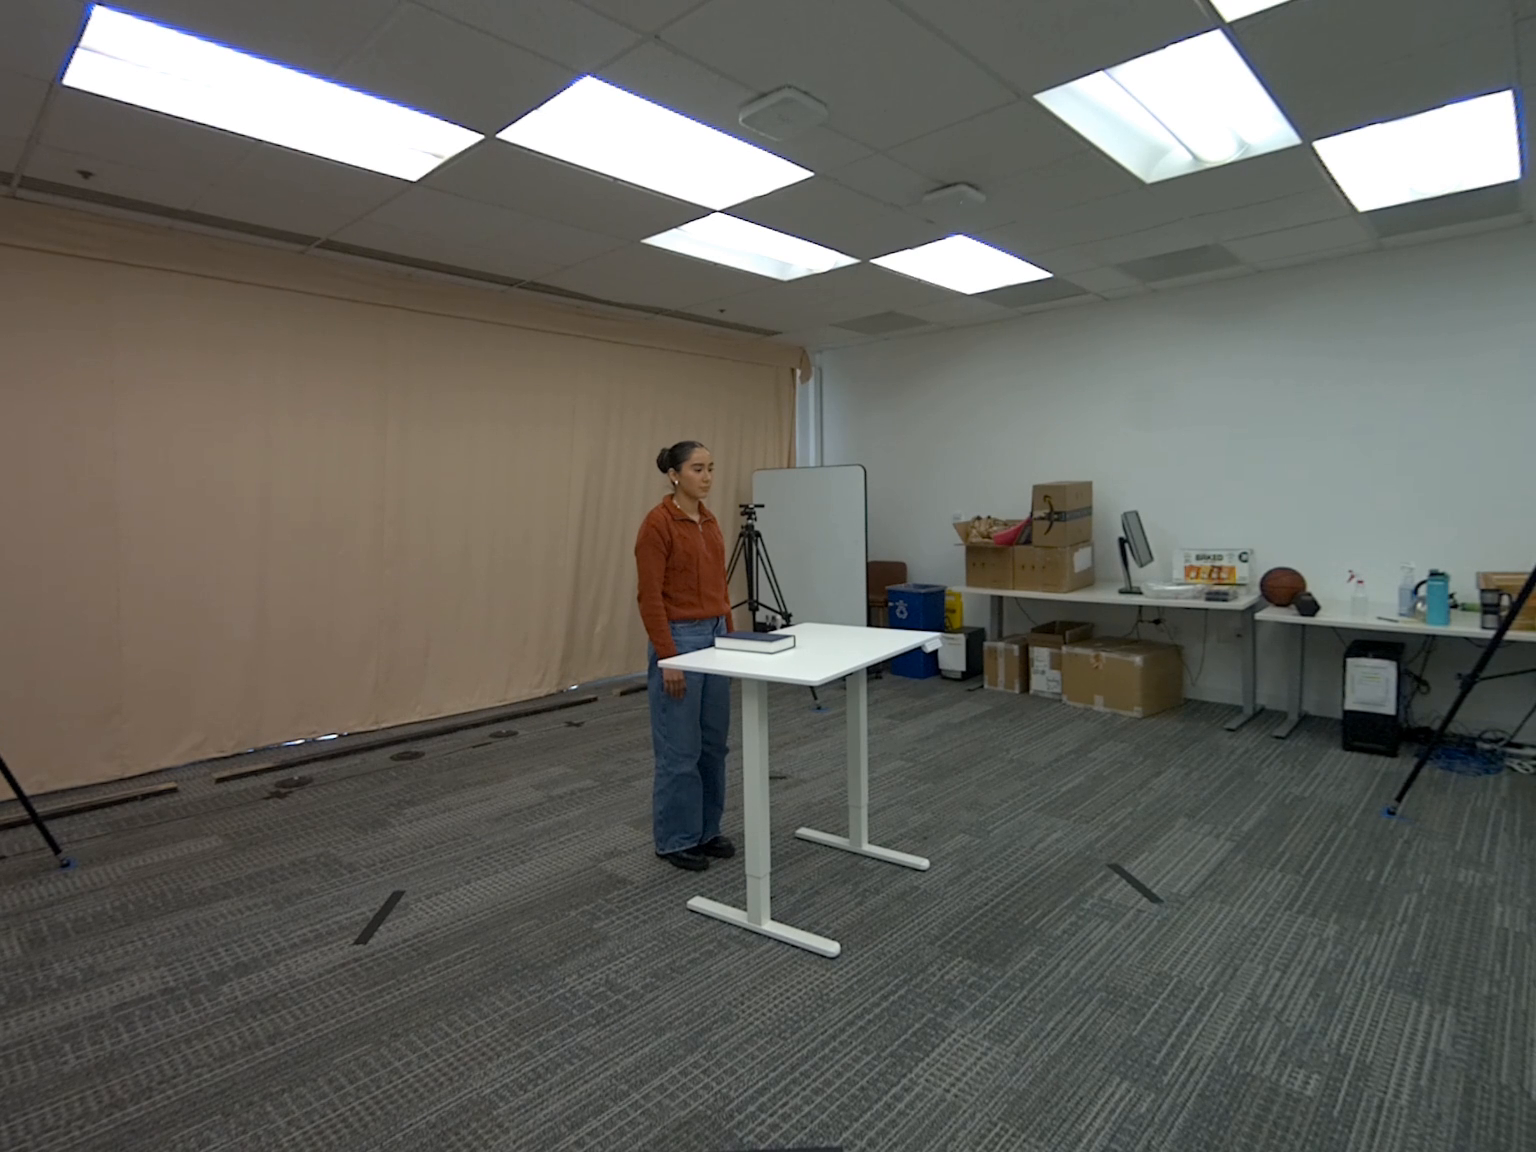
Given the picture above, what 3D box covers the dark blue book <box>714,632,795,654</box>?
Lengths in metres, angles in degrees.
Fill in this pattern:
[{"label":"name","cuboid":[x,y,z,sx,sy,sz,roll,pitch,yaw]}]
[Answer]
[{"label":"dark blue book","cuboid":[-0.049,0.238,3.006,0.252,0.045,0.159,2,6,32]}]
